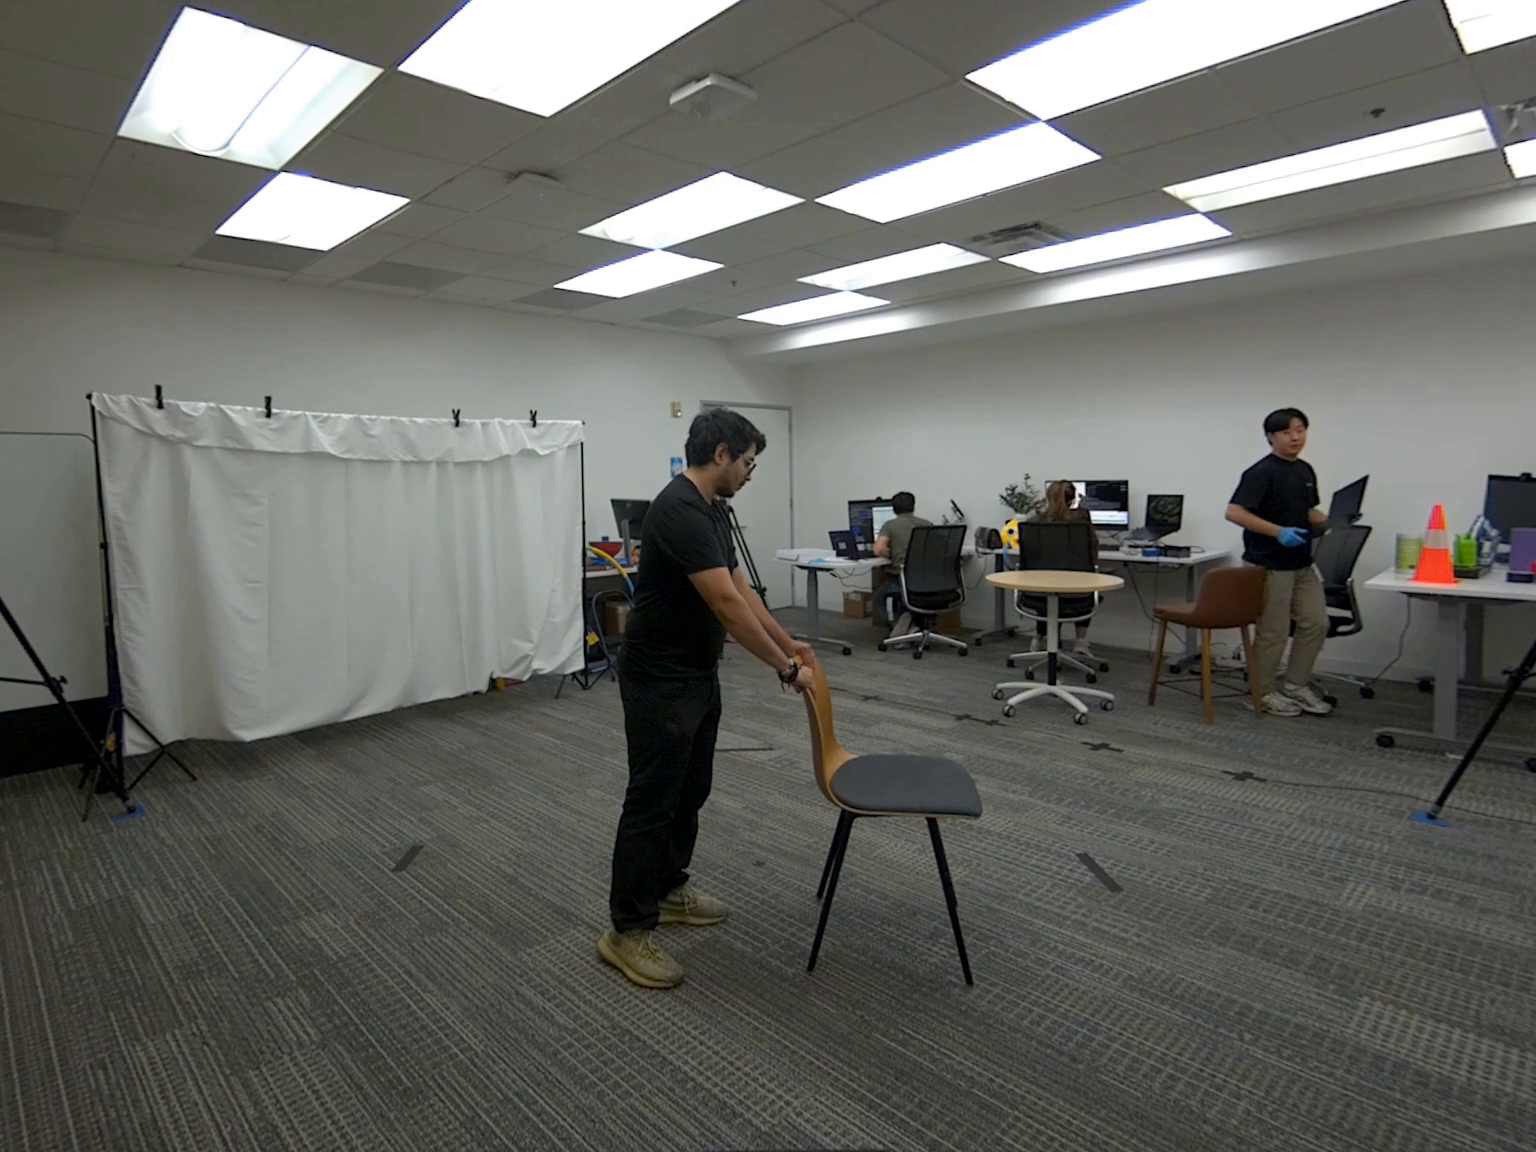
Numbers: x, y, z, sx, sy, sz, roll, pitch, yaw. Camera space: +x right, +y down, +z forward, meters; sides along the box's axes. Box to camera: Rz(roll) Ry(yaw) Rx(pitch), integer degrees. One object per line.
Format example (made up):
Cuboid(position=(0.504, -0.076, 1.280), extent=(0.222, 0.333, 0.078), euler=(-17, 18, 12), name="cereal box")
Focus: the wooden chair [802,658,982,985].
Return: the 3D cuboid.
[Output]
Cuboid(position=(0.364, 0.670, 2.572), extent=(0.528, 0.875, 0.475), euler=(-5, 3, 9), name="wooden chair")
